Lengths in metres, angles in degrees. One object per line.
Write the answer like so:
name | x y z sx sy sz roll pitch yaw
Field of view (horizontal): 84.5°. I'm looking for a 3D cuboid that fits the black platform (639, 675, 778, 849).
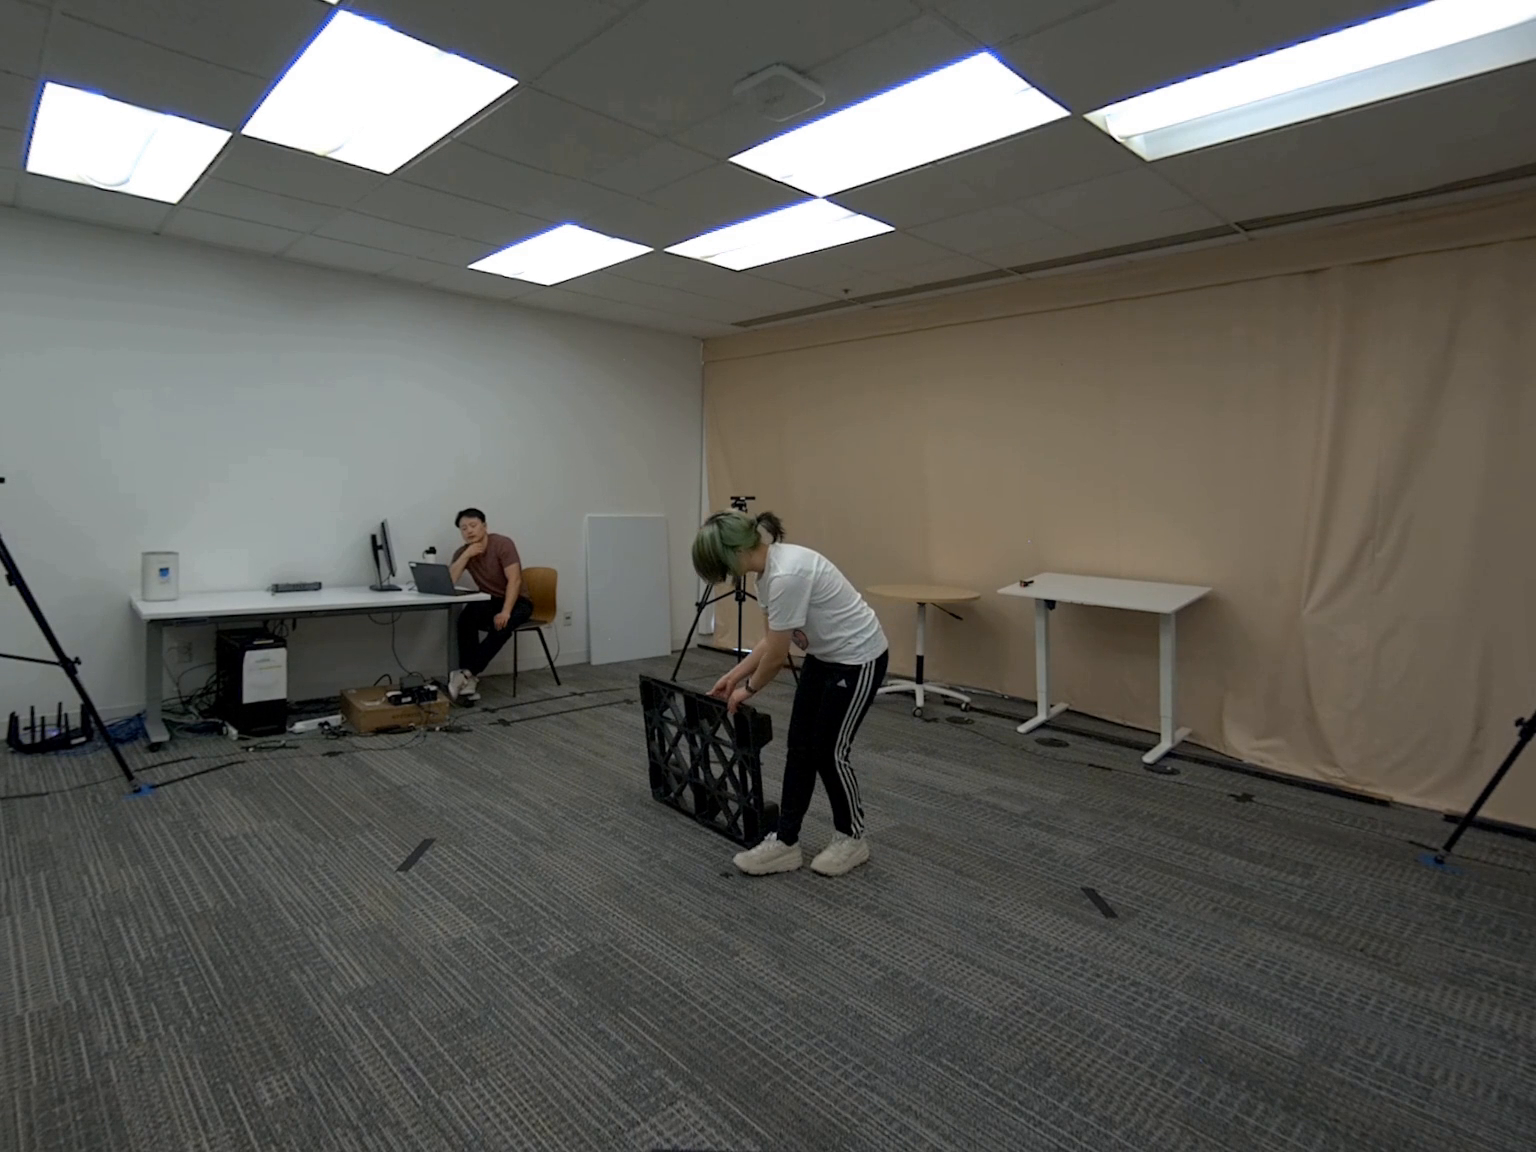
black platform | -0.266 0.758 3.576 0.141 0.601 0.826 -12 12 -38
